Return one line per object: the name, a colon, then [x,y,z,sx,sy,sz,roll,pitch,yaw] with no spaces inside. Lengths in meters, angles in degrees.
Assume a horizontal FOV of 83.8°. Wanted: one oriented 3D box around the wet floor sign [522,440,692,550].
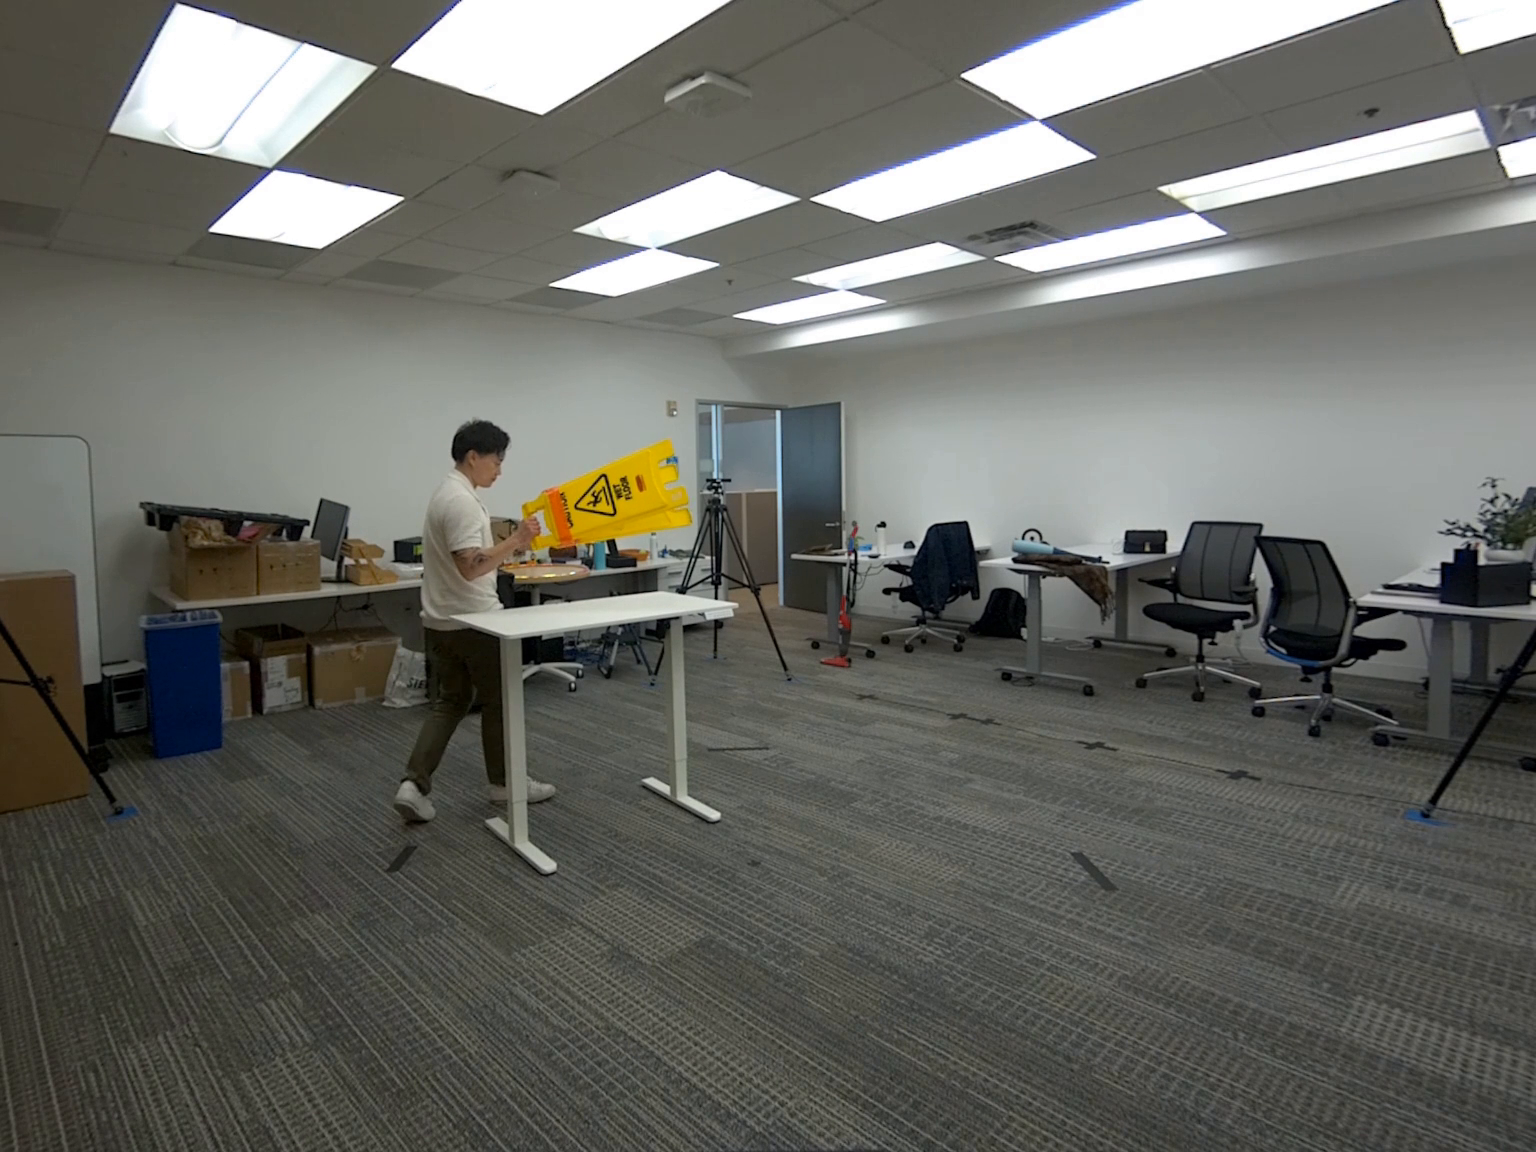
wet floor sign: [-0.654,-0.282,3.402,0.644,0.287,0.286,-17,-13,-5]
